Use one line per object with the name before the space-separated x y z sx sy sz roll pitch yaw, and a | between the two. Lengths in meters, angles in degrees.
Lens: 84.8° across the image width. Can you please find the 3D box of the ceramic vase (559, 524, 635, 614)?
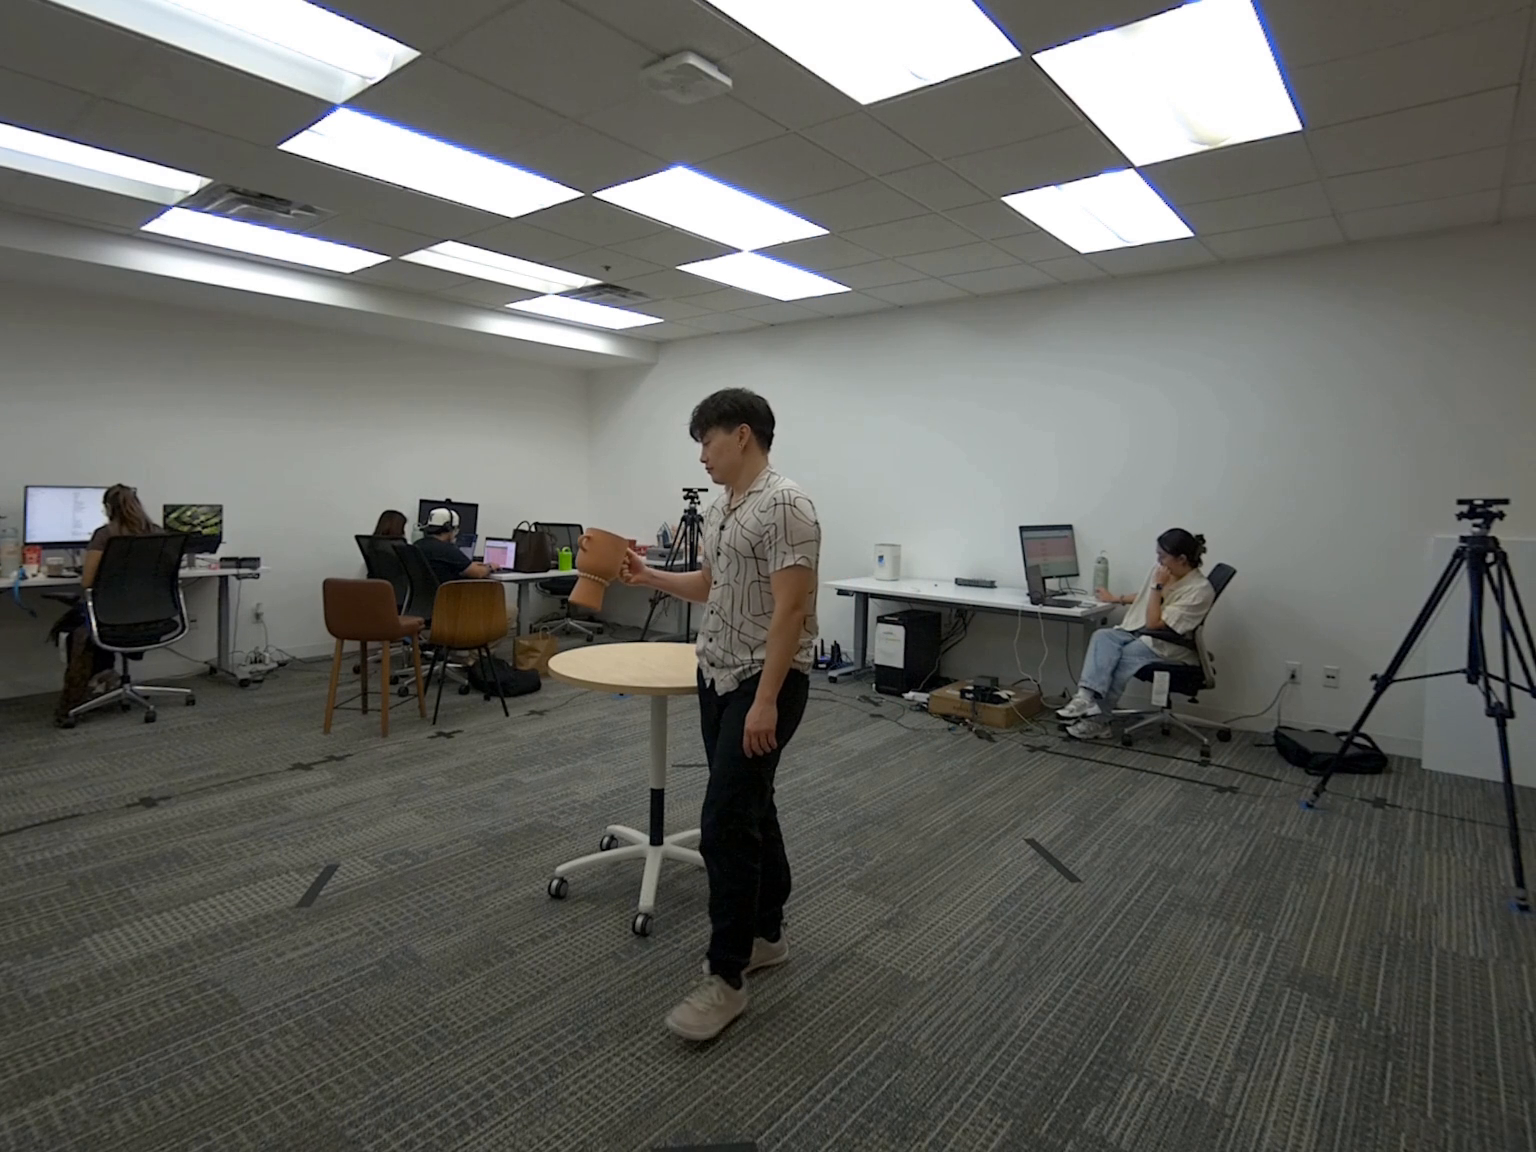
ceramic vase | -0.507 -0.019 2.479 0.156 0.221 0.136 15 -11 -14
